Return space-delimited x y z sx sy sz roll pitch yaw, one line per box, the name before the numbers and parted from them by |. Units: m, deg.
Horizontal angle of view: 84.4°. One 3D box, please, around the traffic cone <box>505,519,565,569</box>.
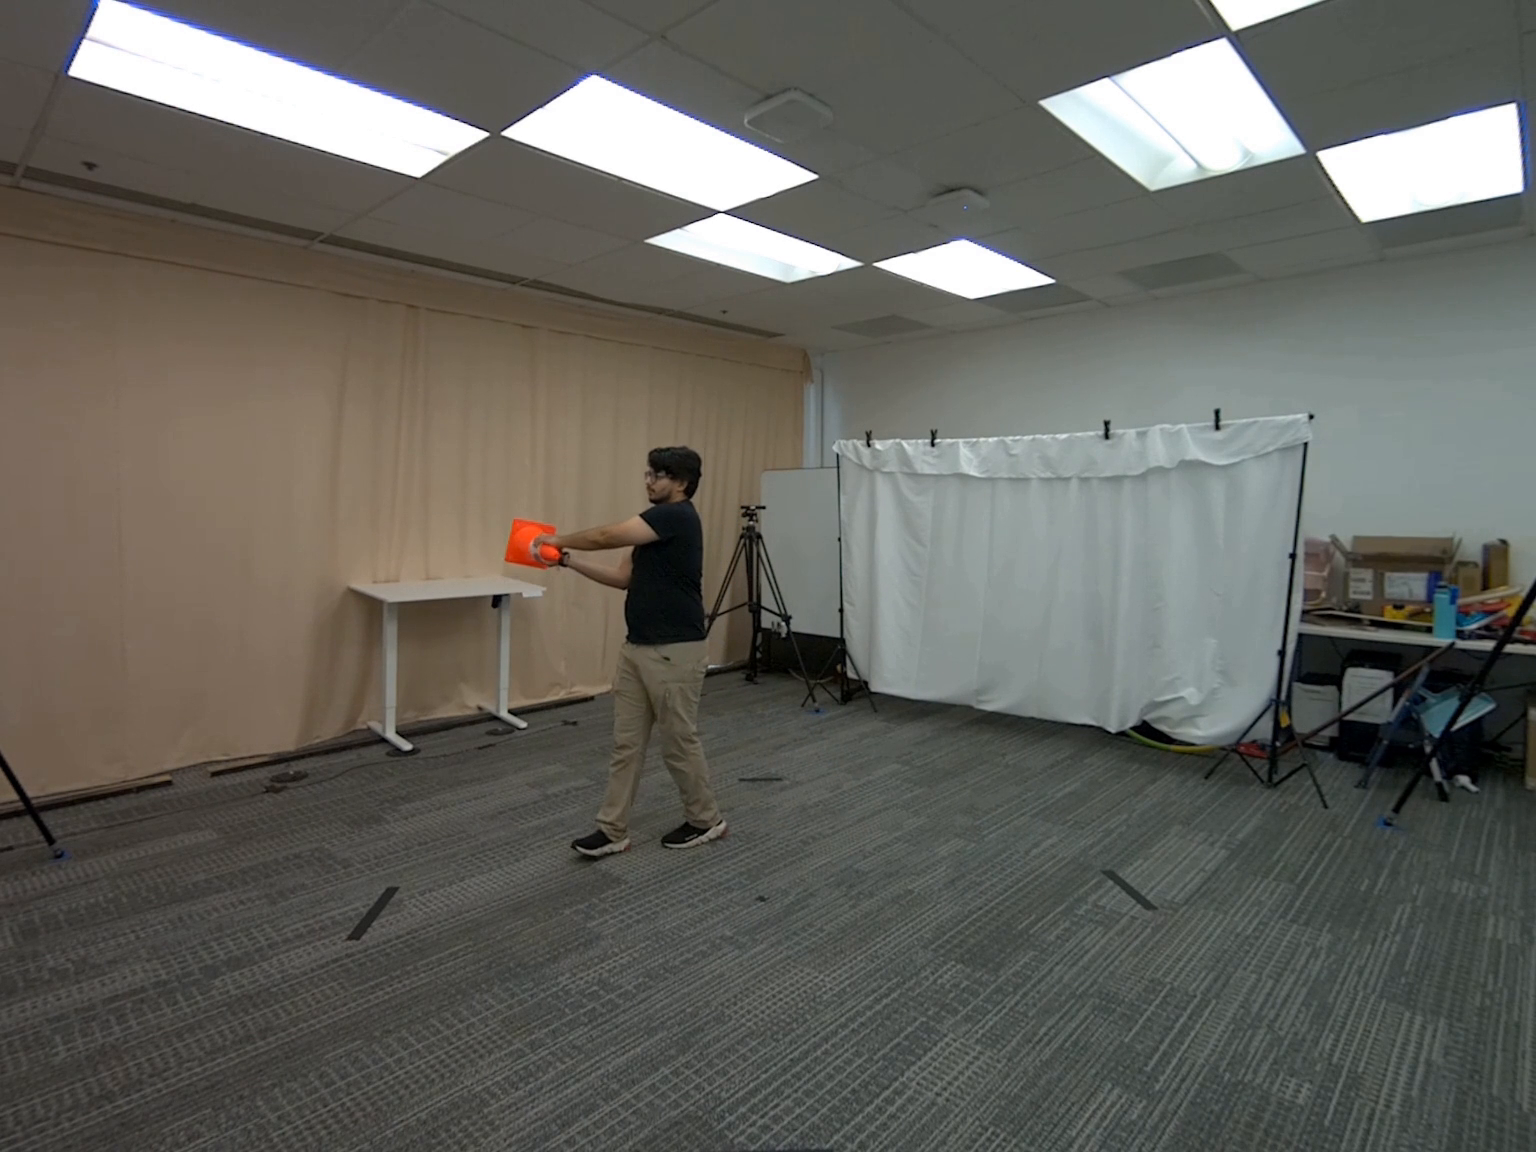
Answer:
traffic cone | -0.961 -0.100 3.545 0.199 0.203 0.395 10 4 -30
